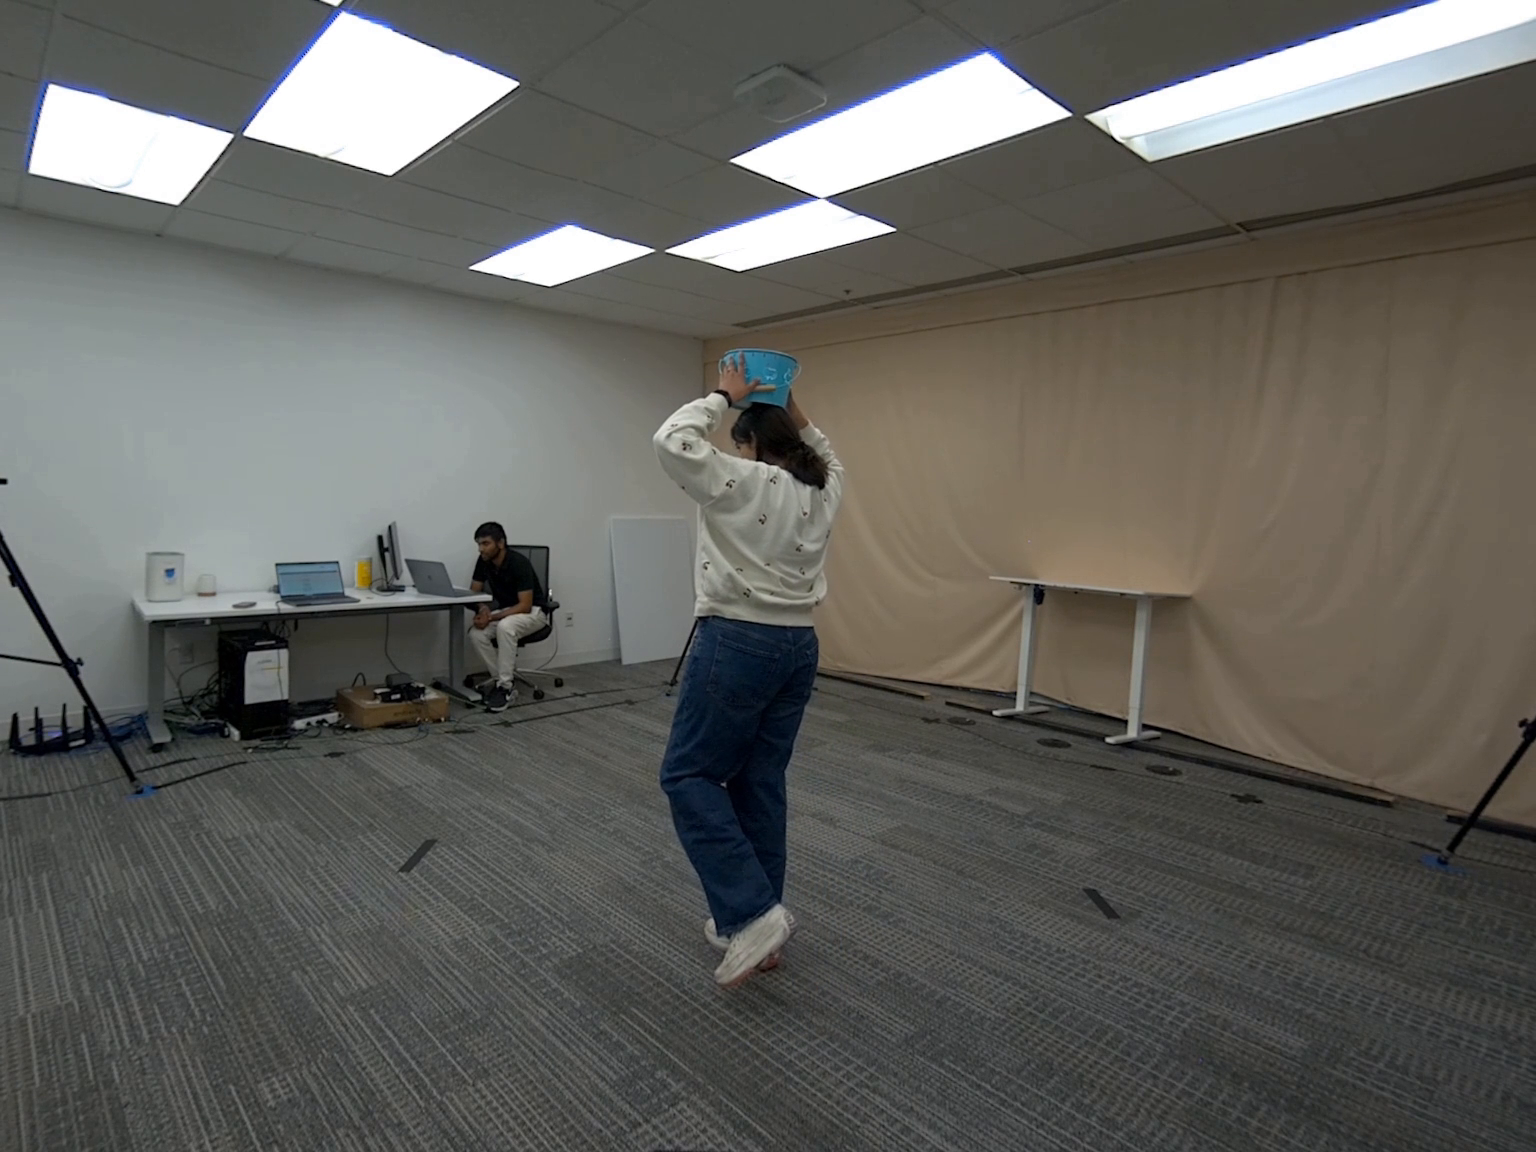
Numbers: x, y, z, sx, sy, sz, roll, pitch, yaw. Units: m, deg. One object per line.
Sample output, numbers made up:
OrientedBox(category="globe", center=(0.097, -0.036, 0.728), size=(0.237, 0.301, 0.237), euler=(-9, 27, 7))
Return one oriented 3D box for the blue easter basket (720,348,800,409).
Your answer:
OrientedBox(category="blue easter basket", center=(-0.036, -0.598, 2.600), size=(0.243, 0.156, 0.243), euler=(6, 0, -1))
